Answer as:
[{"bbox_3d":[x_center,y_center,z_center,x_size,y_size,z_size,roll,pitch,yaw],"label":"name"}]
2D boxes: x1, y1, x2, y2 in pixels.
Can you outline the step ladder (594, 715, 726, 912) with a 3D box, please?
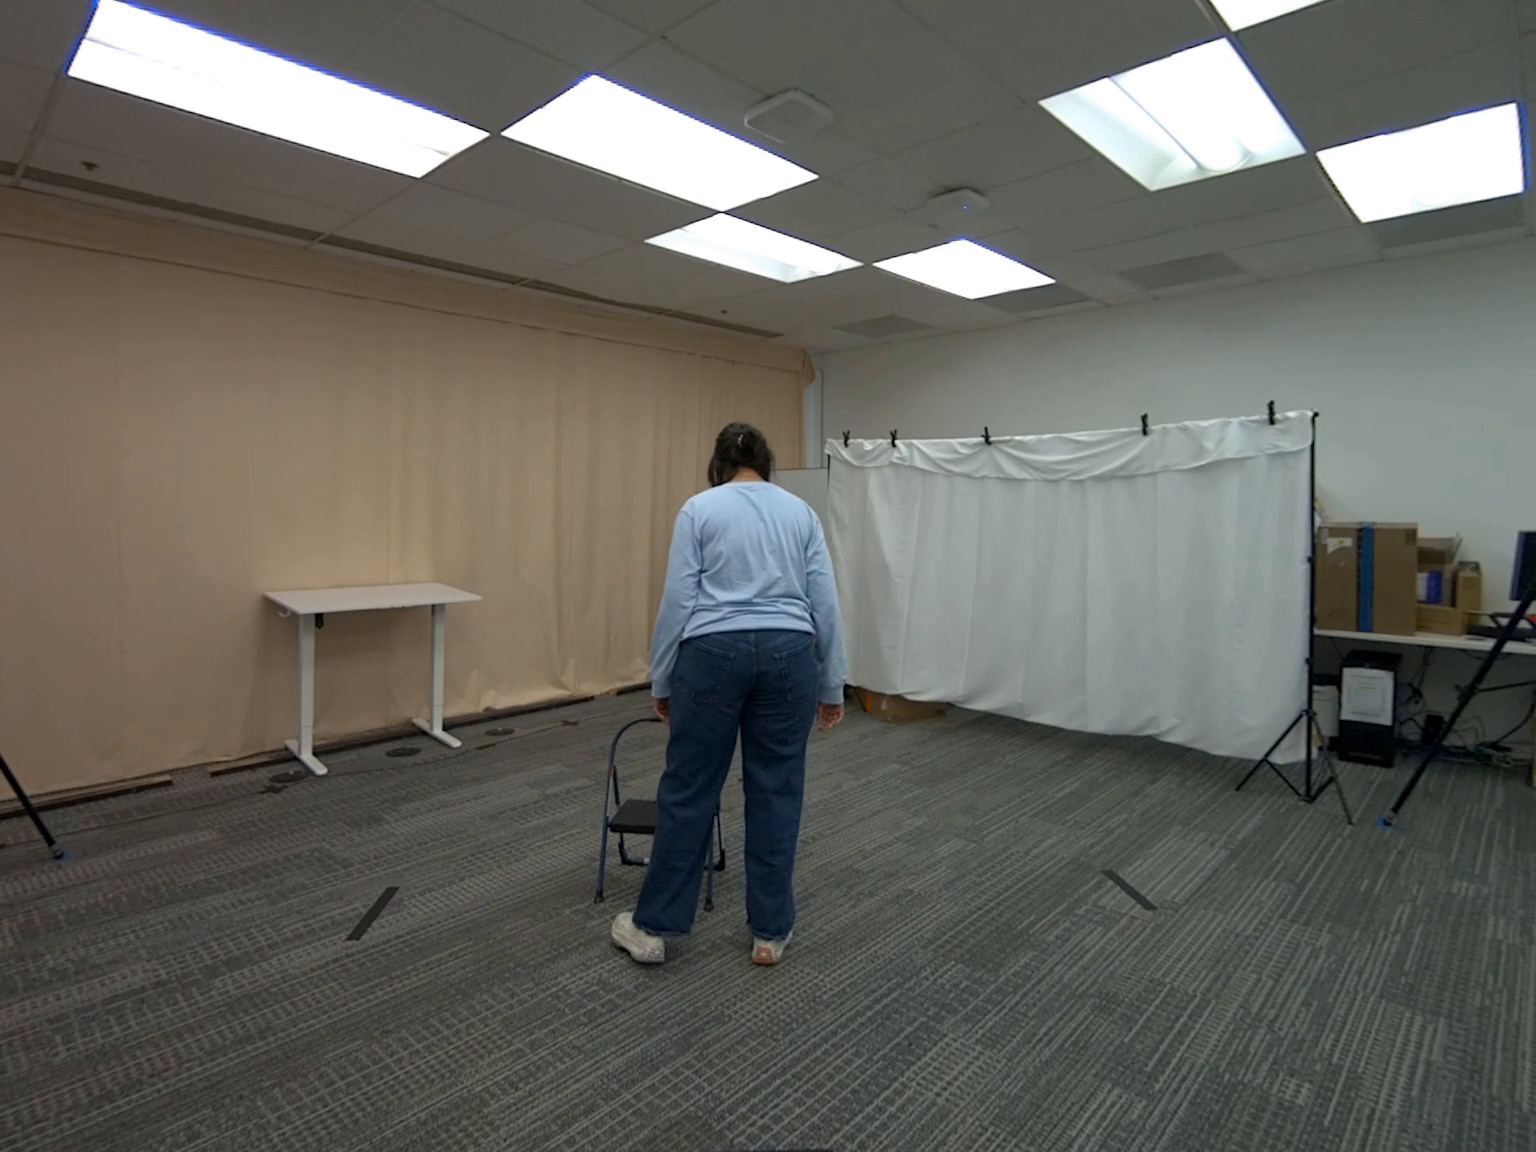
[{"bbox_3d":[-0.390,0.837,3.085,0.435,0.604,0.347,0,4,8],"label":"step ladder"}]
